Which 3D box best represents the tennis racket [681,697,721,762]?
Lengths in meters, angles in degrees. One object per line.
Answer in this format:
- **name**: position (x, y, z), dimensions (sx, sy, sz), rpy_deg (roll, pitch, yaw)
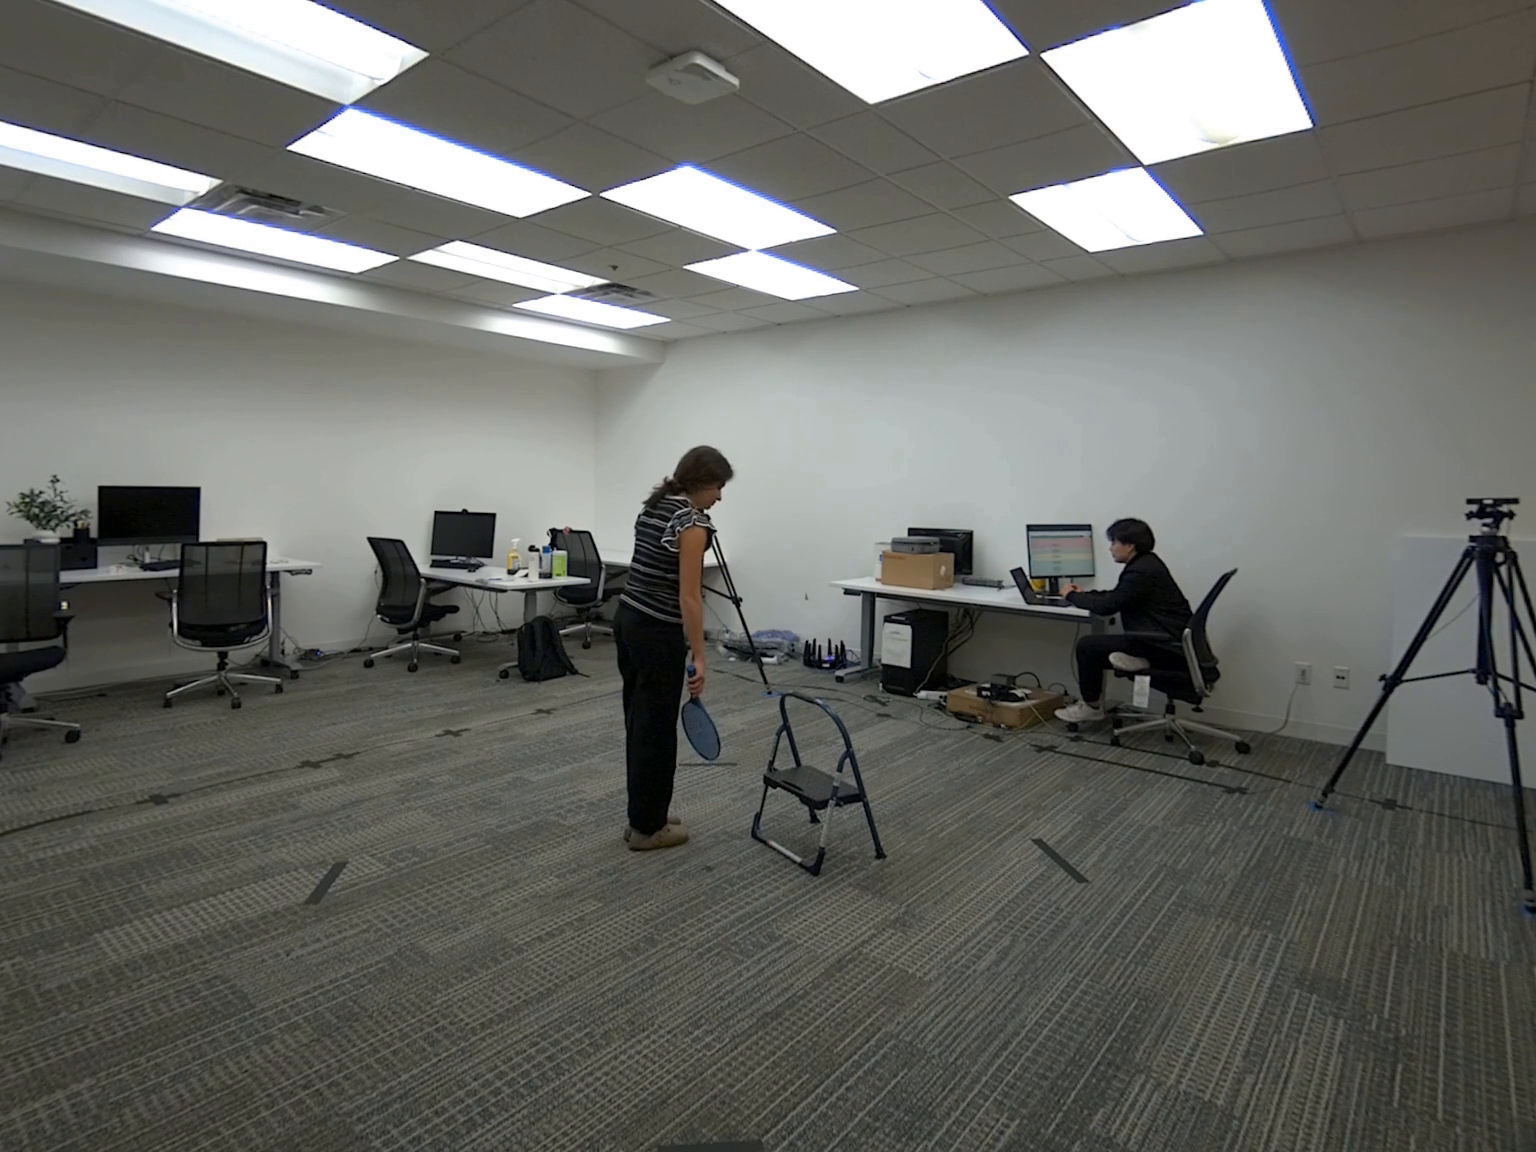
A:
- **tennis racket**: position (-0.288, 0.532, 3.254), dimensions (0.031, 0.423, 0.222), rpy_deg (-22, 29, -34)
